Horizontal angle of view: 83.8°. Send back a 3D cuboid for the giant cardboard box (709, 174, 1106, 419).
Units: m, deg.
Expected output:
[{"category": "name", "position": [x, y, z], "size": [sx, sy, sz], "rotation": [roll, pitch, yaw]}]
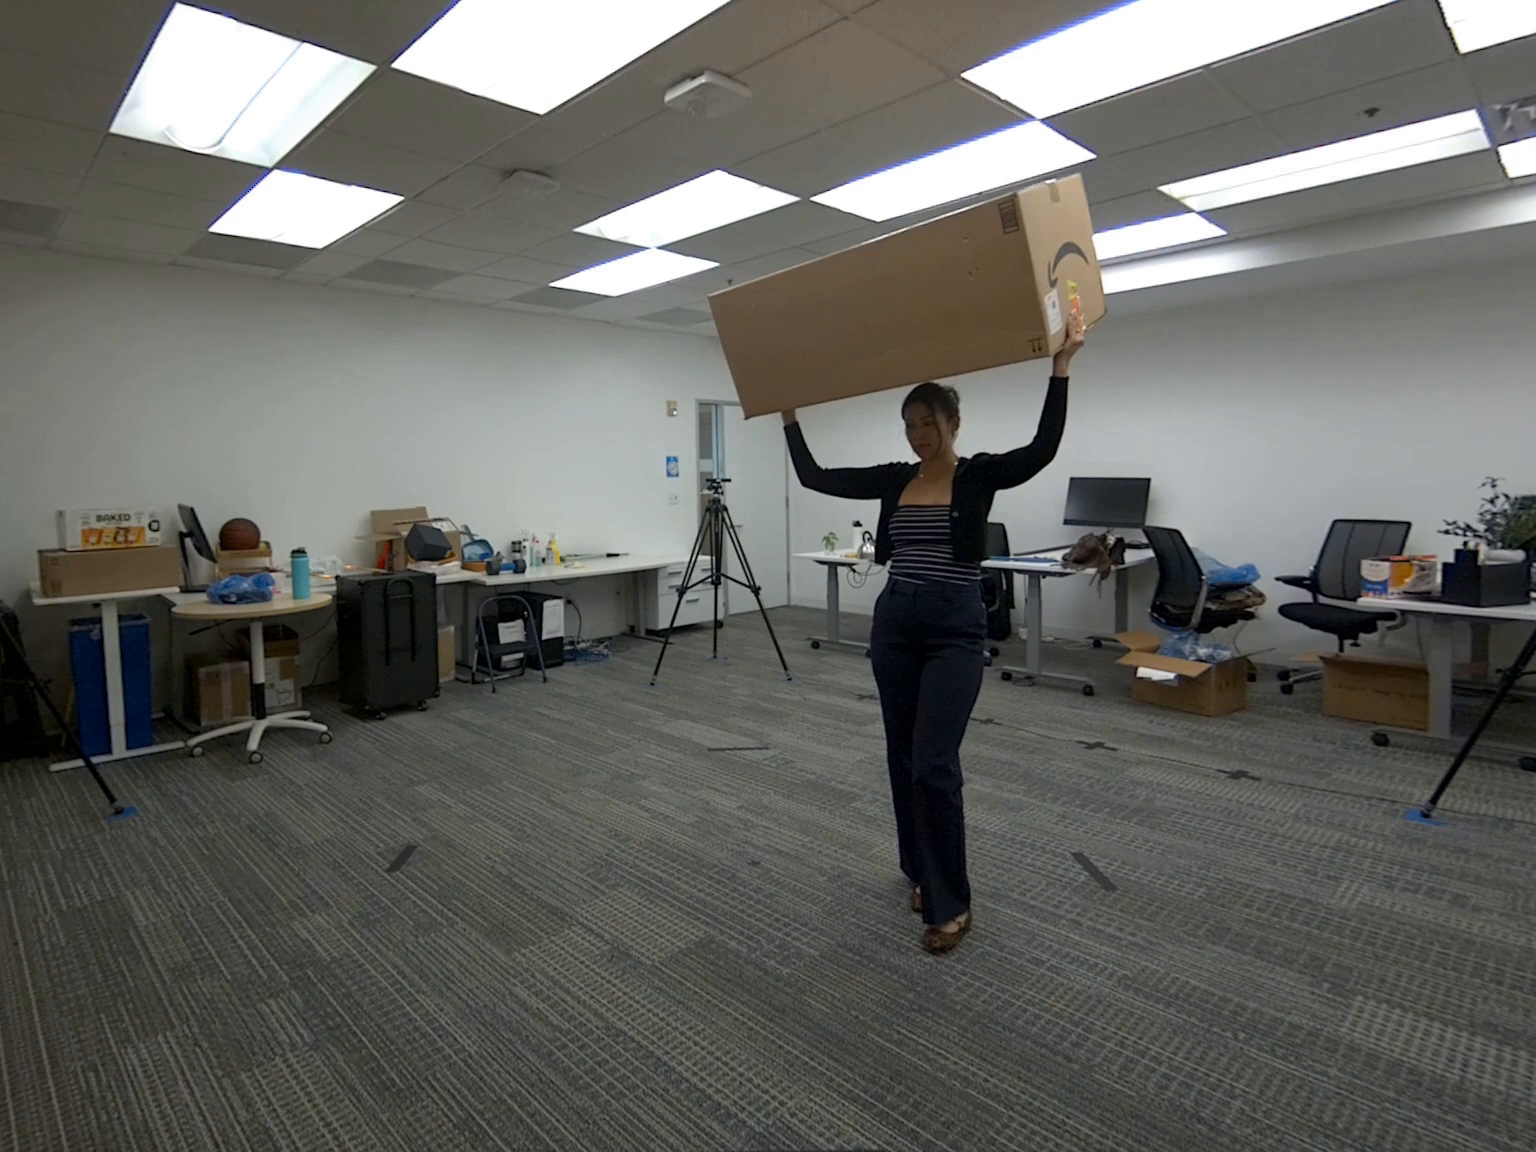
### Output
[{"category": "giant cardboard box", "position": [0.422, -0.846, 2.693], "size": [1.053, 0.419, 0.572], "rotation": [-3, 22, 40]}]
